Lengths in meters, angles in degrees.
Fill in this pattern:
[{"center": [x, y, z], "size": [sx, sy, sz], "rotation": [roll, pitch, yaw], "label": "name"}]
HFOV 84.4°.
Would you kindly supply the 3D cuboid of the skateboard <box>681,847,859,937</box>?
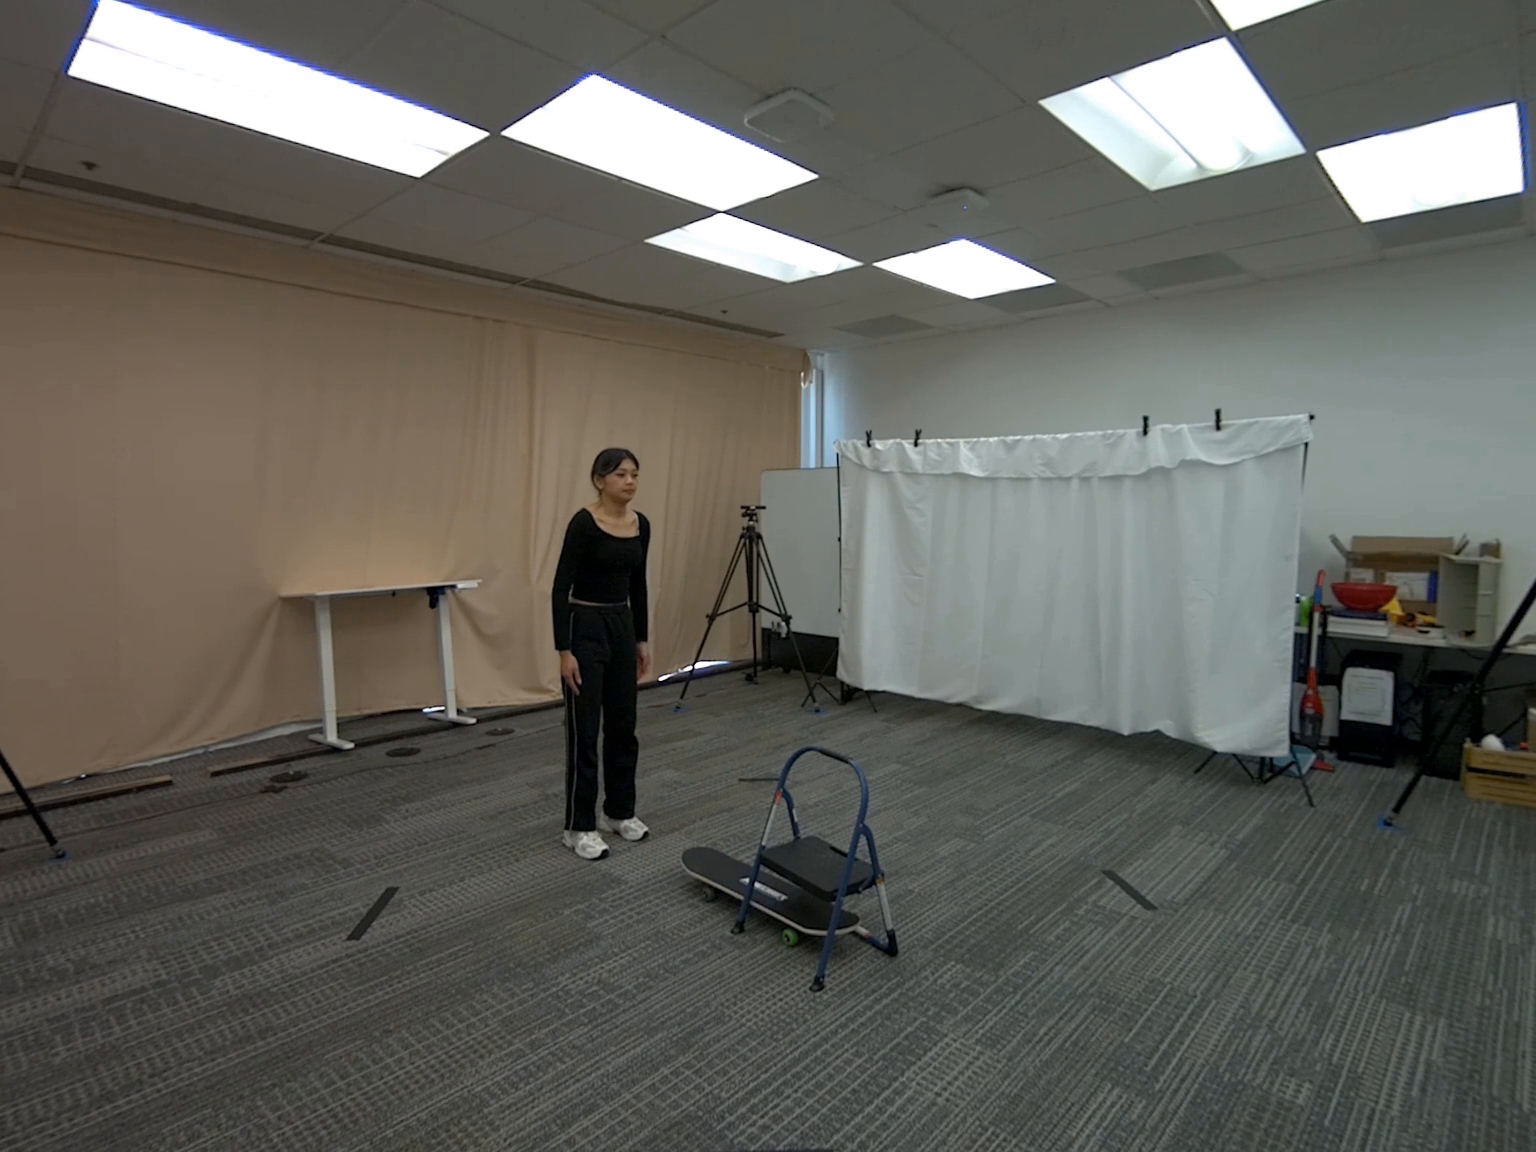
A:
[{"center": [-0.012, 1.095, 2.864], "size": [0.187, 0.110, 0.812], "rotation": [-2, 5, -43], "label": "skateboard"}]
